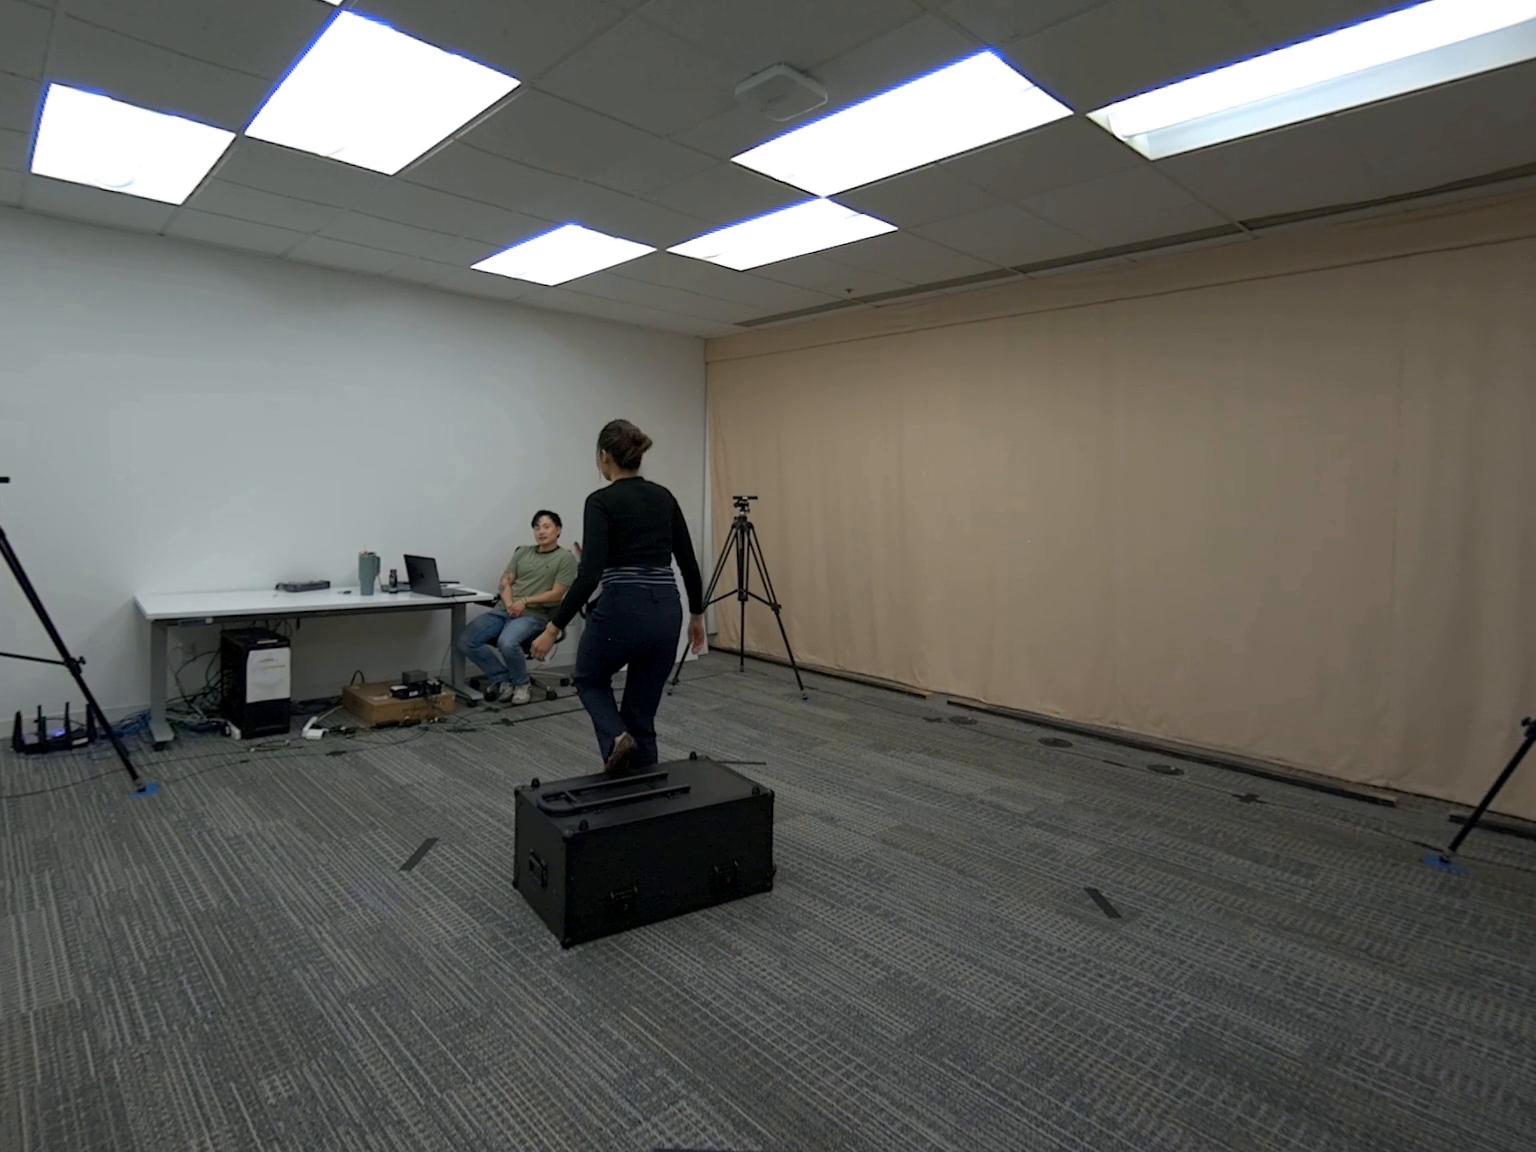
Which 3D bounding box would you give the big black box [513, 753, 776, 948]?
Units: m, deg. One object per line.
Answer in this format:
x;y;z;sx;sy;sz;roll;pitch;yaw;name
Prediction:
-0.465;0.935;2.949;0.843;0.395;0.534;-2;6;-34;big black box
